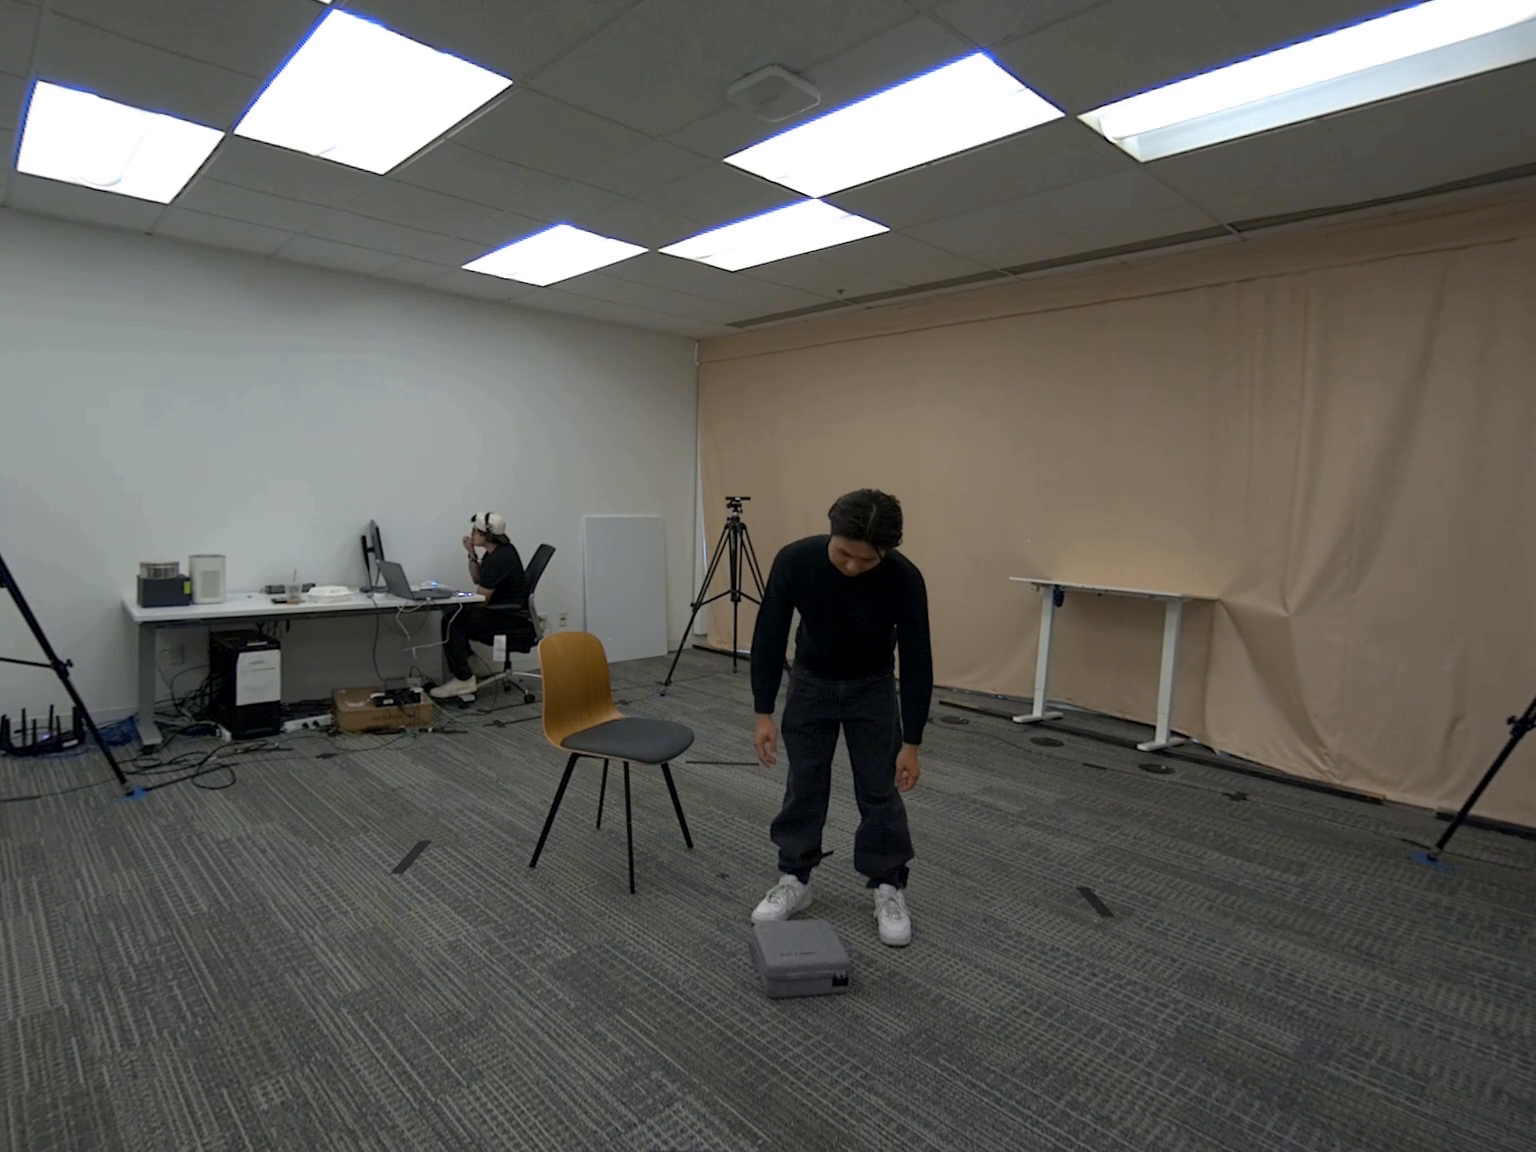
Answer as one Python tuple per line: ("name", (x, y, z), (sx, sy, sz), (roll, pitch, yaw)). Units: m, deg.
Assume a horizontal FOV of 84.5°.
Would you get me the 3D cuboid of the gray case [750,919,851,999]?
("gray case", (0.080, 1.116, 2.472), (0.255, 0.104, 0.263), (0, 5, -11))
